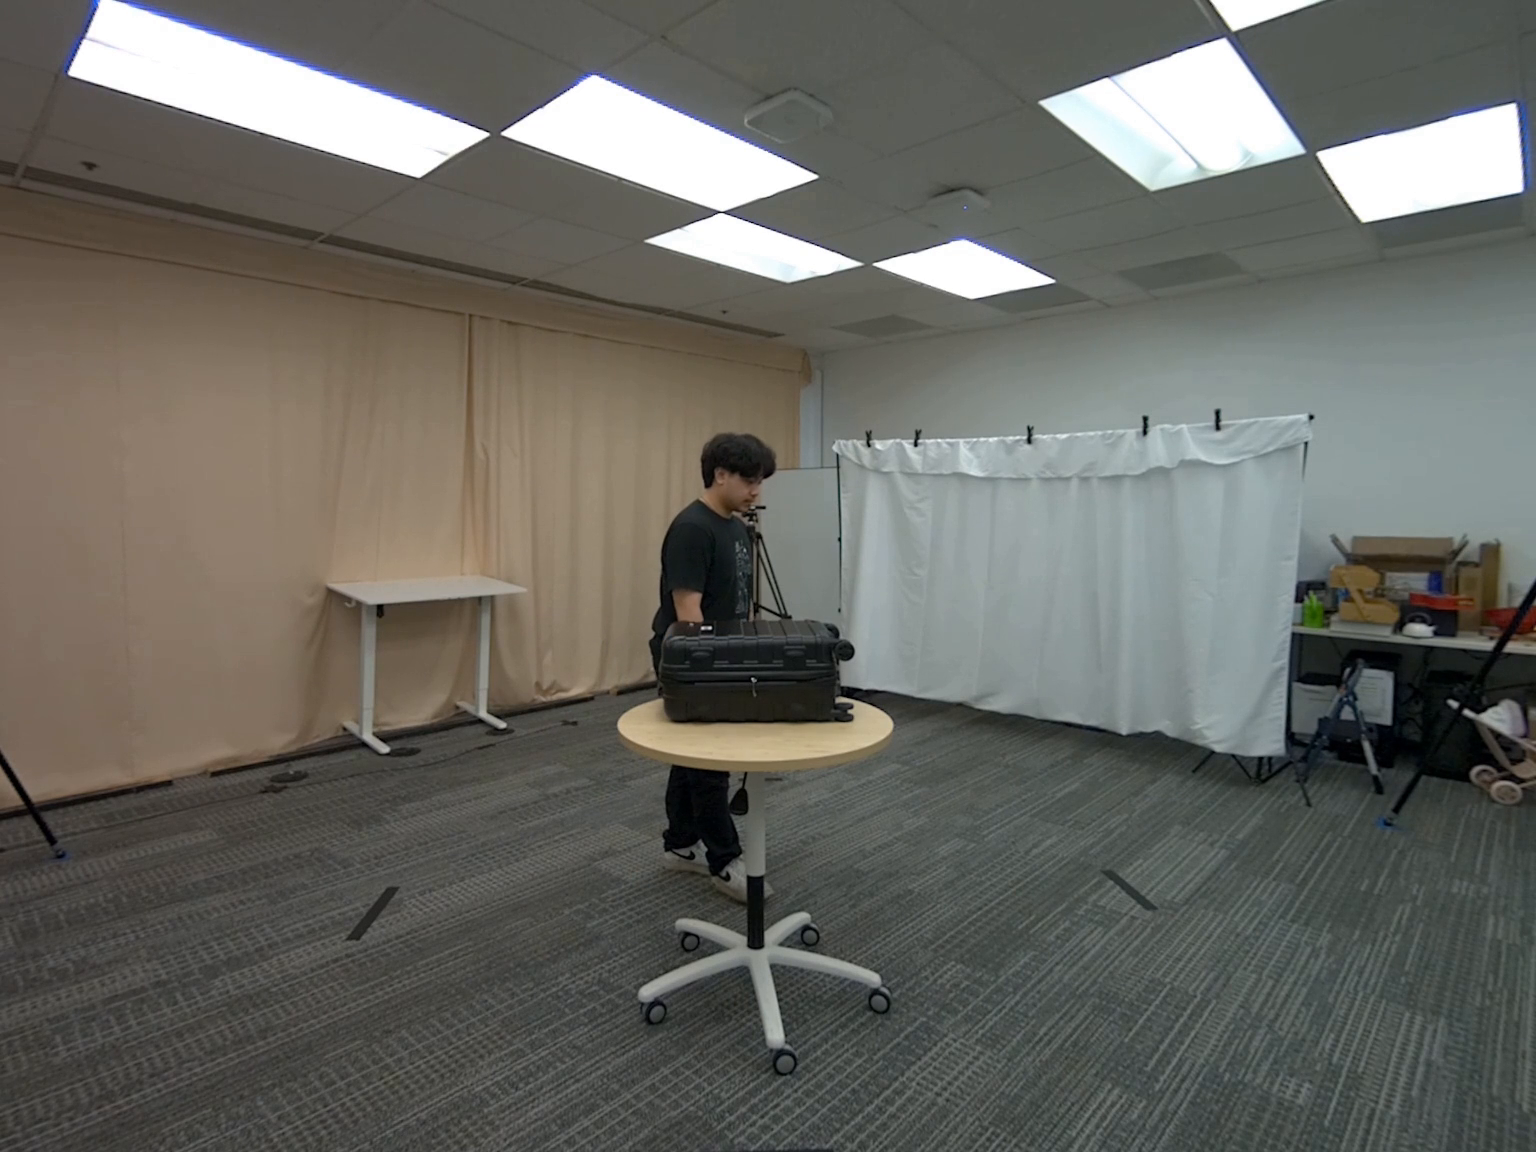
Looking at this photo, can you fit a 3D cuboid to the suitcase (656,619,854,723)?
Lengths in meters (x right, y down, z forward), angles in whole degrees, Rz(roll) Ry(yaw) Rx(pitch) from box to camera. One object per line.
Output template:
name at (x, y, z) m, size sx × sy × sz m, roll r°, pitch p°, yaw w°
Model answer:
suitcase at (-0.042, 0.274, 2.463) m, size 0.550 × 0.247 × 0.376 m, roll -1°, pitch 6°, yaw 0°
